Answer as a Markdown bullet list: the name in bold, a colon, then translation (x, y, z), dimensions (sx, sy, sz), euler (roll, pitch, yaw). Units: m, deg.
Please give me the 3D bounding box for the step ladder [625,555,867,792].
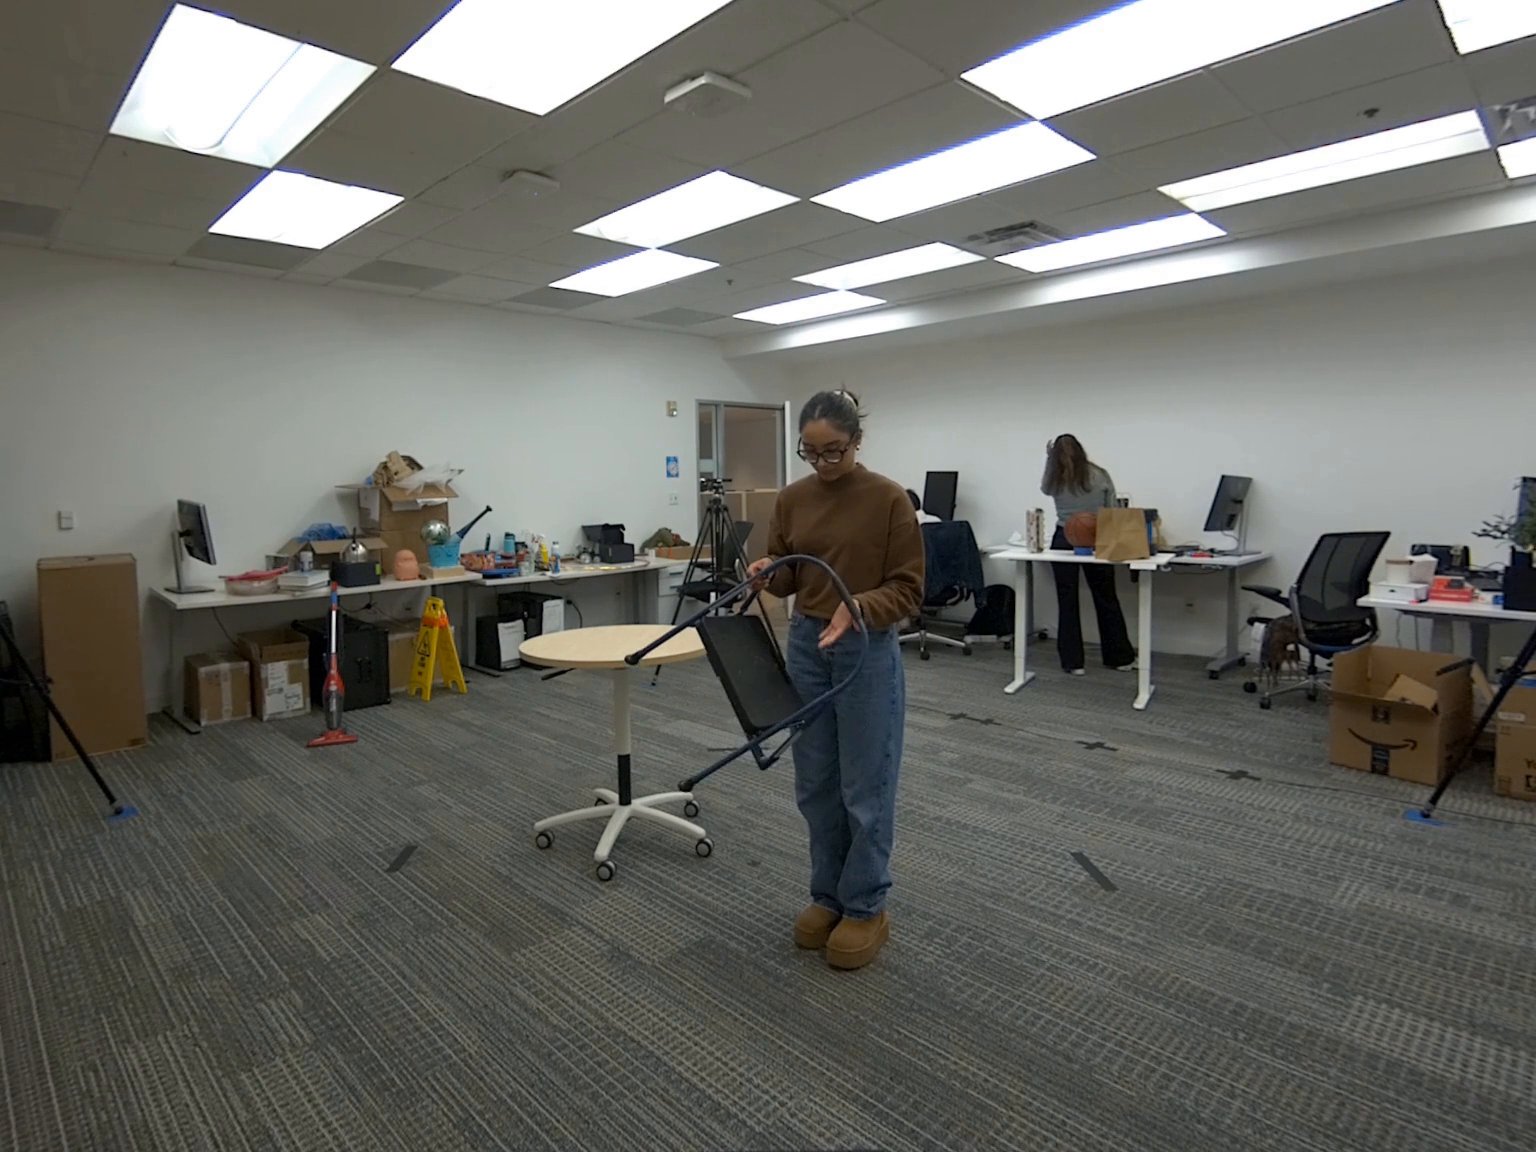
- **step ladder**: translation (-0.018, 0.234, 2.342), dimensions (0.339, 0.444, 0.606), euler (2, -39, -48)
